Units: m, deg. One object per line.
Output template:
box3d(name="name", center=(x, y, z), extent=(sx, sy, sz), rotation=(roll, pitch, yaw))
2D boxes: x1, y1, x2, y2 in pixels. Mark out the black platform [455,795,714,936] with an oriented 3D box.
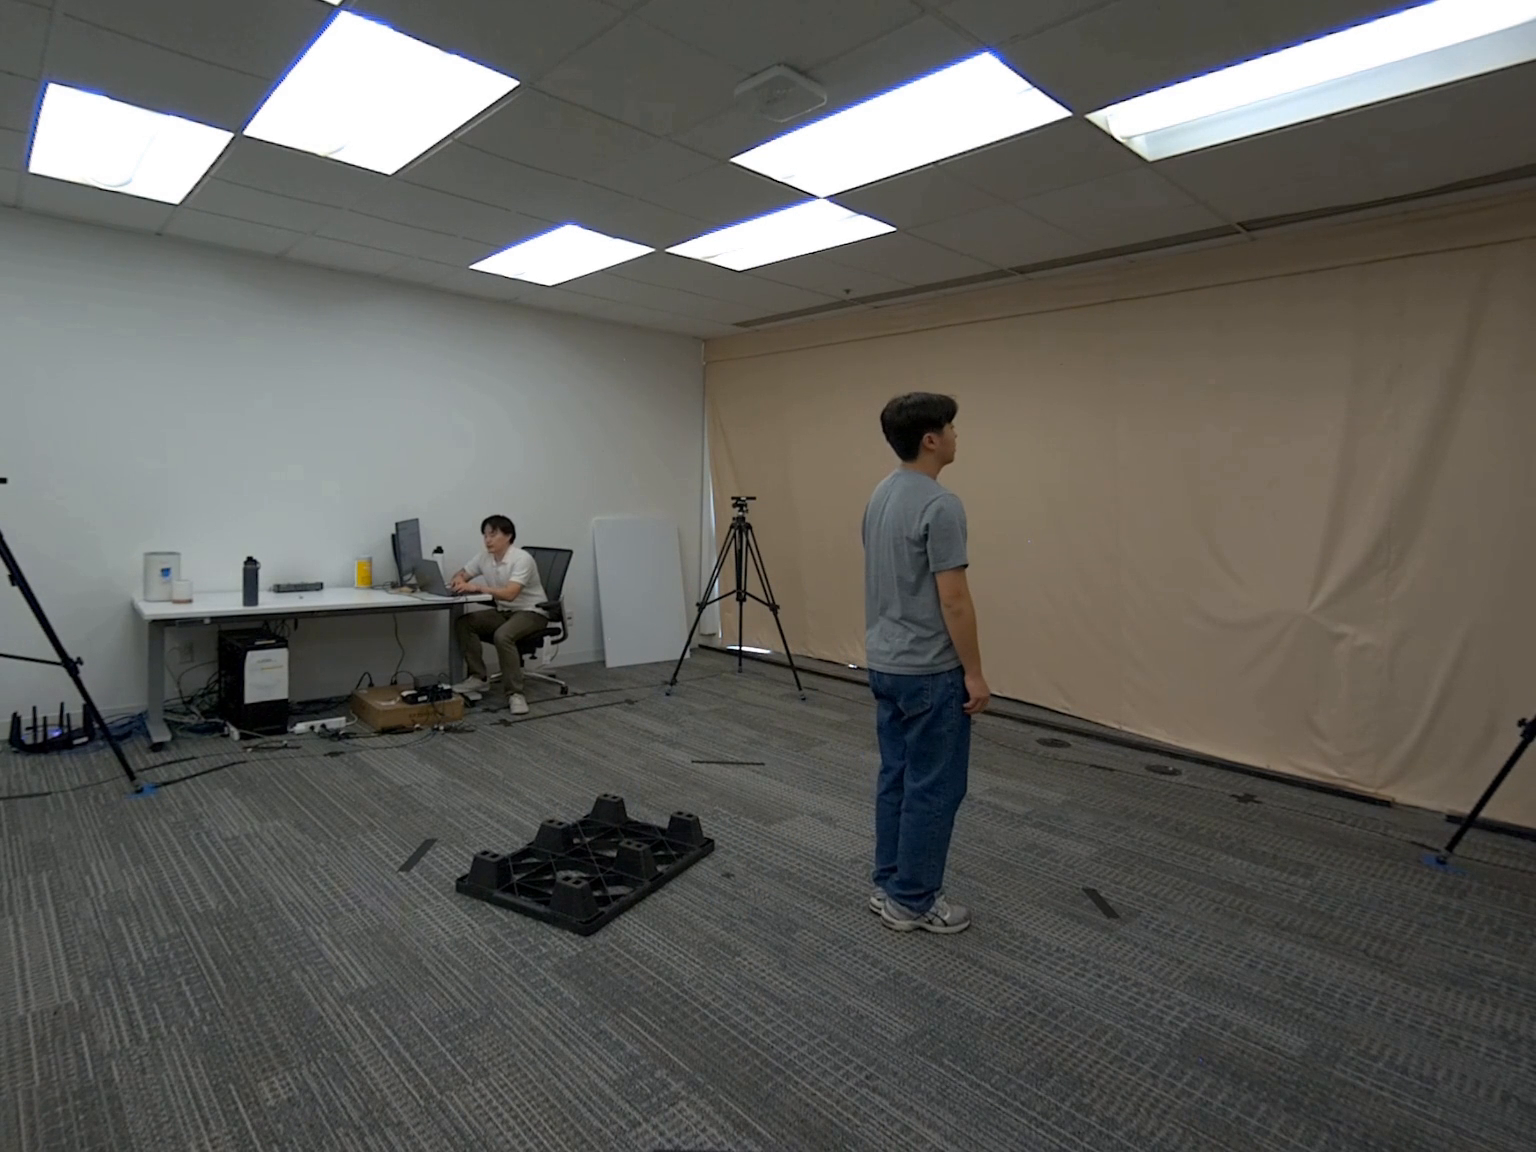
box3d(name="black platform", center=(-0.657, 1.025, 3.138), extent=(0.618, 0.143, 0.791), rotation=(4, 6, 27))
